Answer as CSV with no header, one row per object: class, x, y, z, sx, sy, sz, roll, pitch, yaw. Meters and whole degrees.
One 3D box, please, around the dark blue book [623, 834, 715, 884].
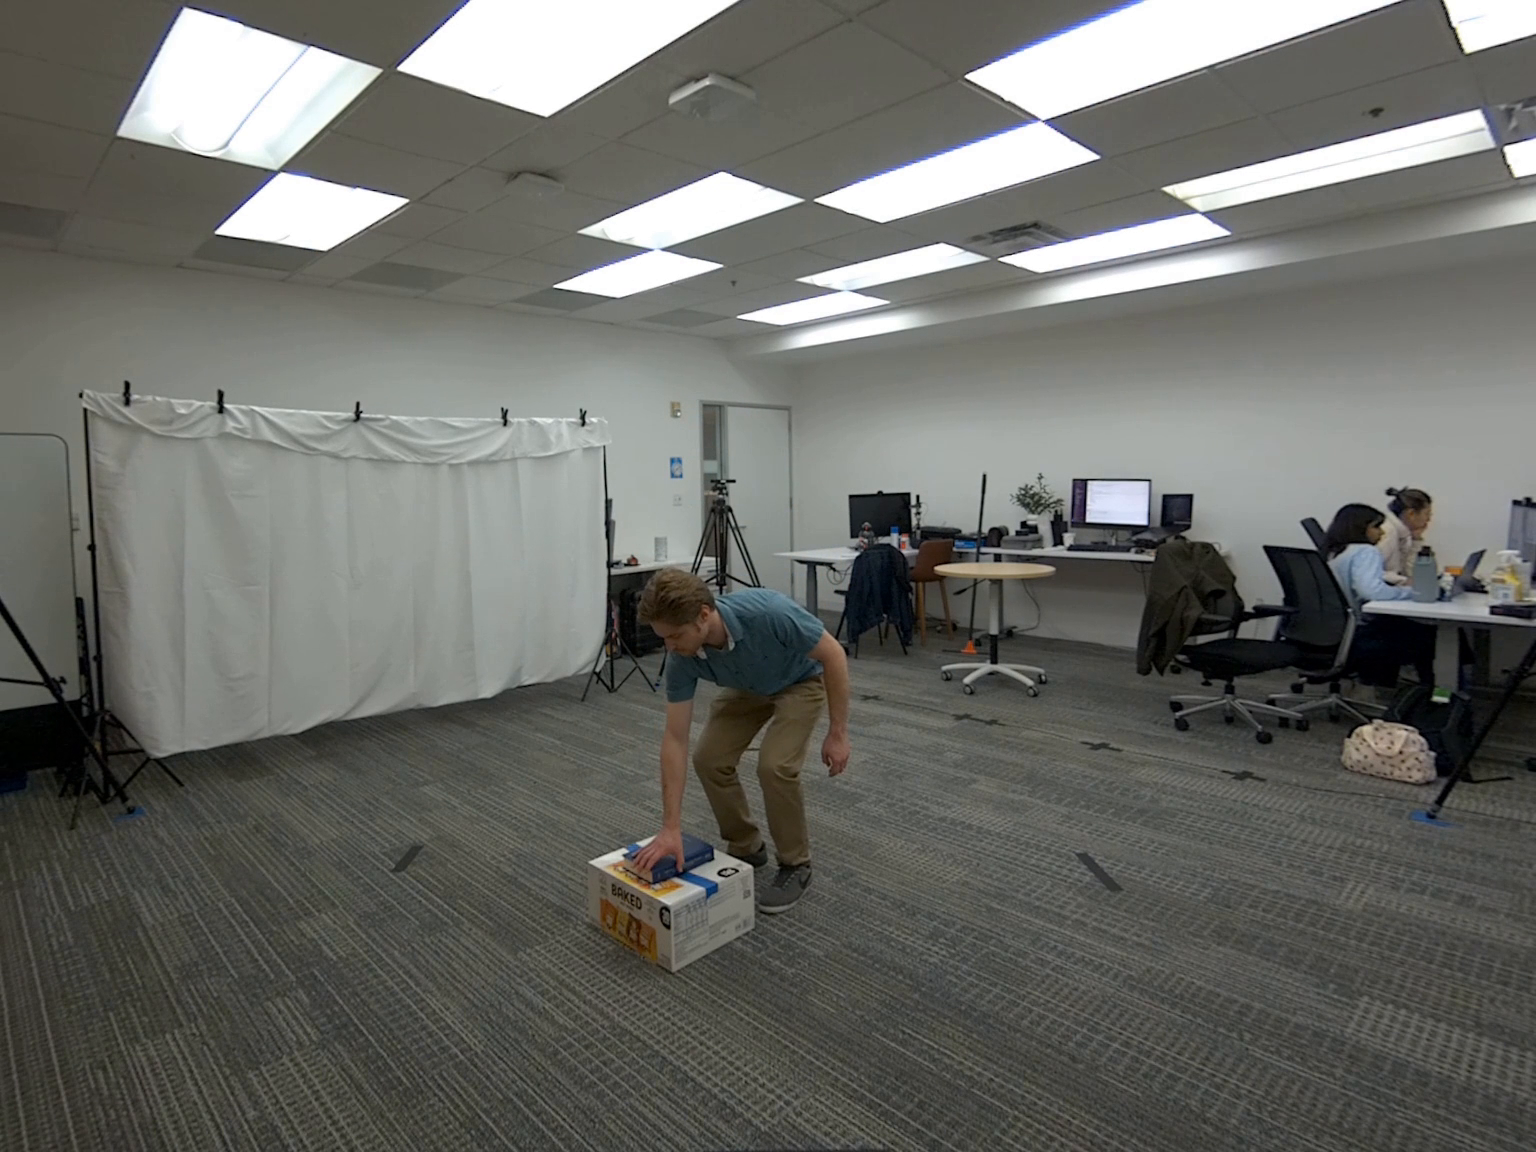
dark blue book,-0.312,0.887,2.693,0.239,0.045,0.168,-10,11,-41
